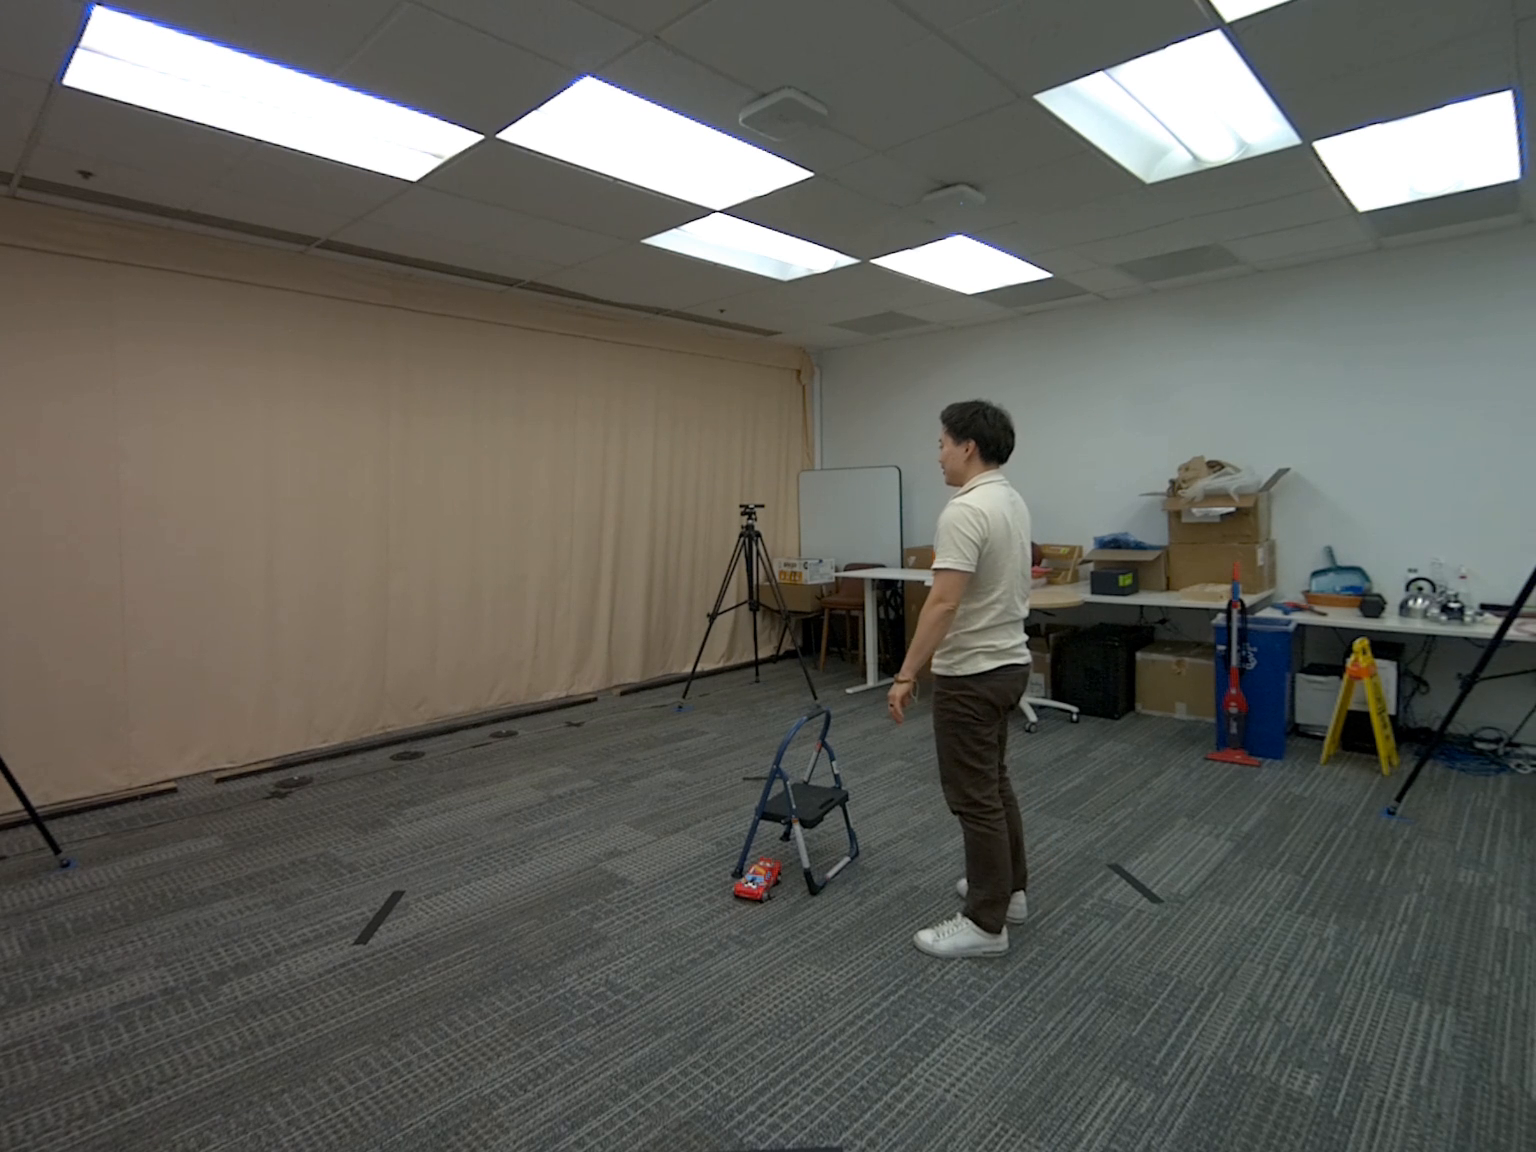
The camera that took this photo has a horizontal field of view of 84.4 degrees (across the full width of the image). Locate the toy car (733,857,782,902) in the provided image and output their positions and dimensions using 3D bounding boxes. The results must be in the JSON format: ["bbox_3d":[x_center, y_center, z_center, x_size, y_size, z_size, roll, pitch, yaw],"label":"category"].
[{"bbox_3d":[-0.026,1.104,3.052,0.133,0.082,0.251,0,15,23],"label":"toy car"}]
